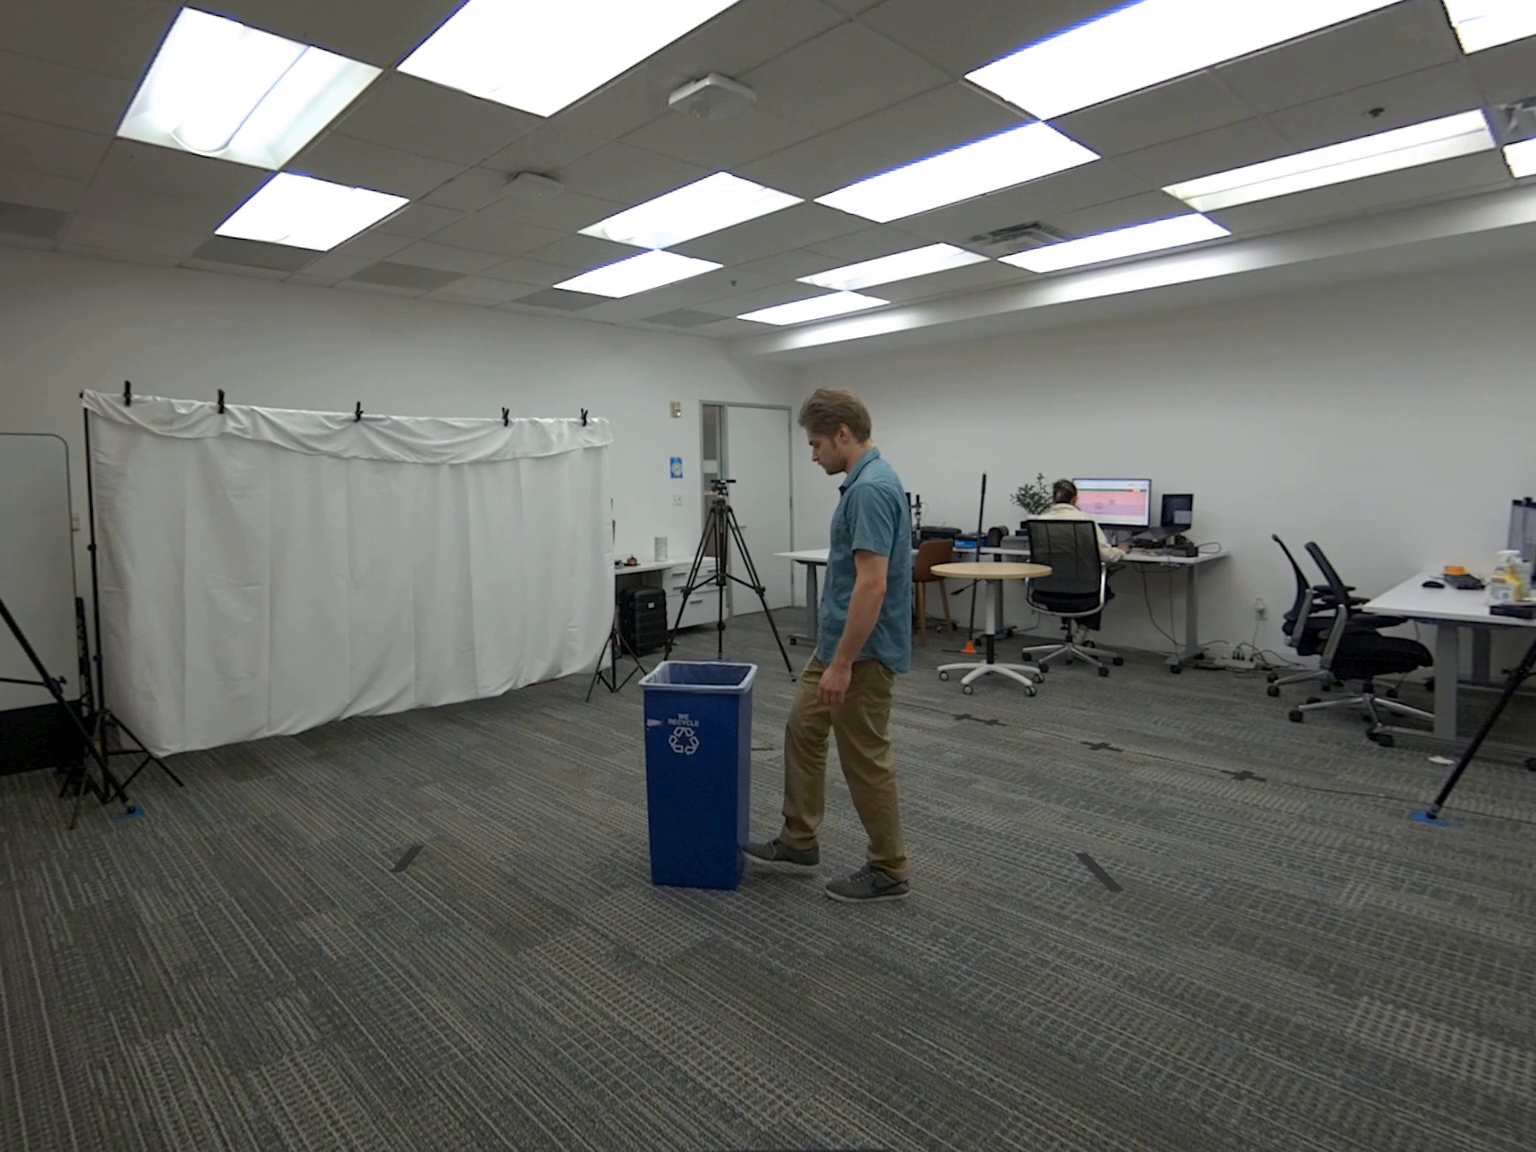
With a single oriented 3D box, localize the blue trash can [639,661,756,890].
[{"bbox_3d":[-0.236,0.699,3.060,0.377,0.711,0.376,-1,4,8],"label":"blue trash can"}]
